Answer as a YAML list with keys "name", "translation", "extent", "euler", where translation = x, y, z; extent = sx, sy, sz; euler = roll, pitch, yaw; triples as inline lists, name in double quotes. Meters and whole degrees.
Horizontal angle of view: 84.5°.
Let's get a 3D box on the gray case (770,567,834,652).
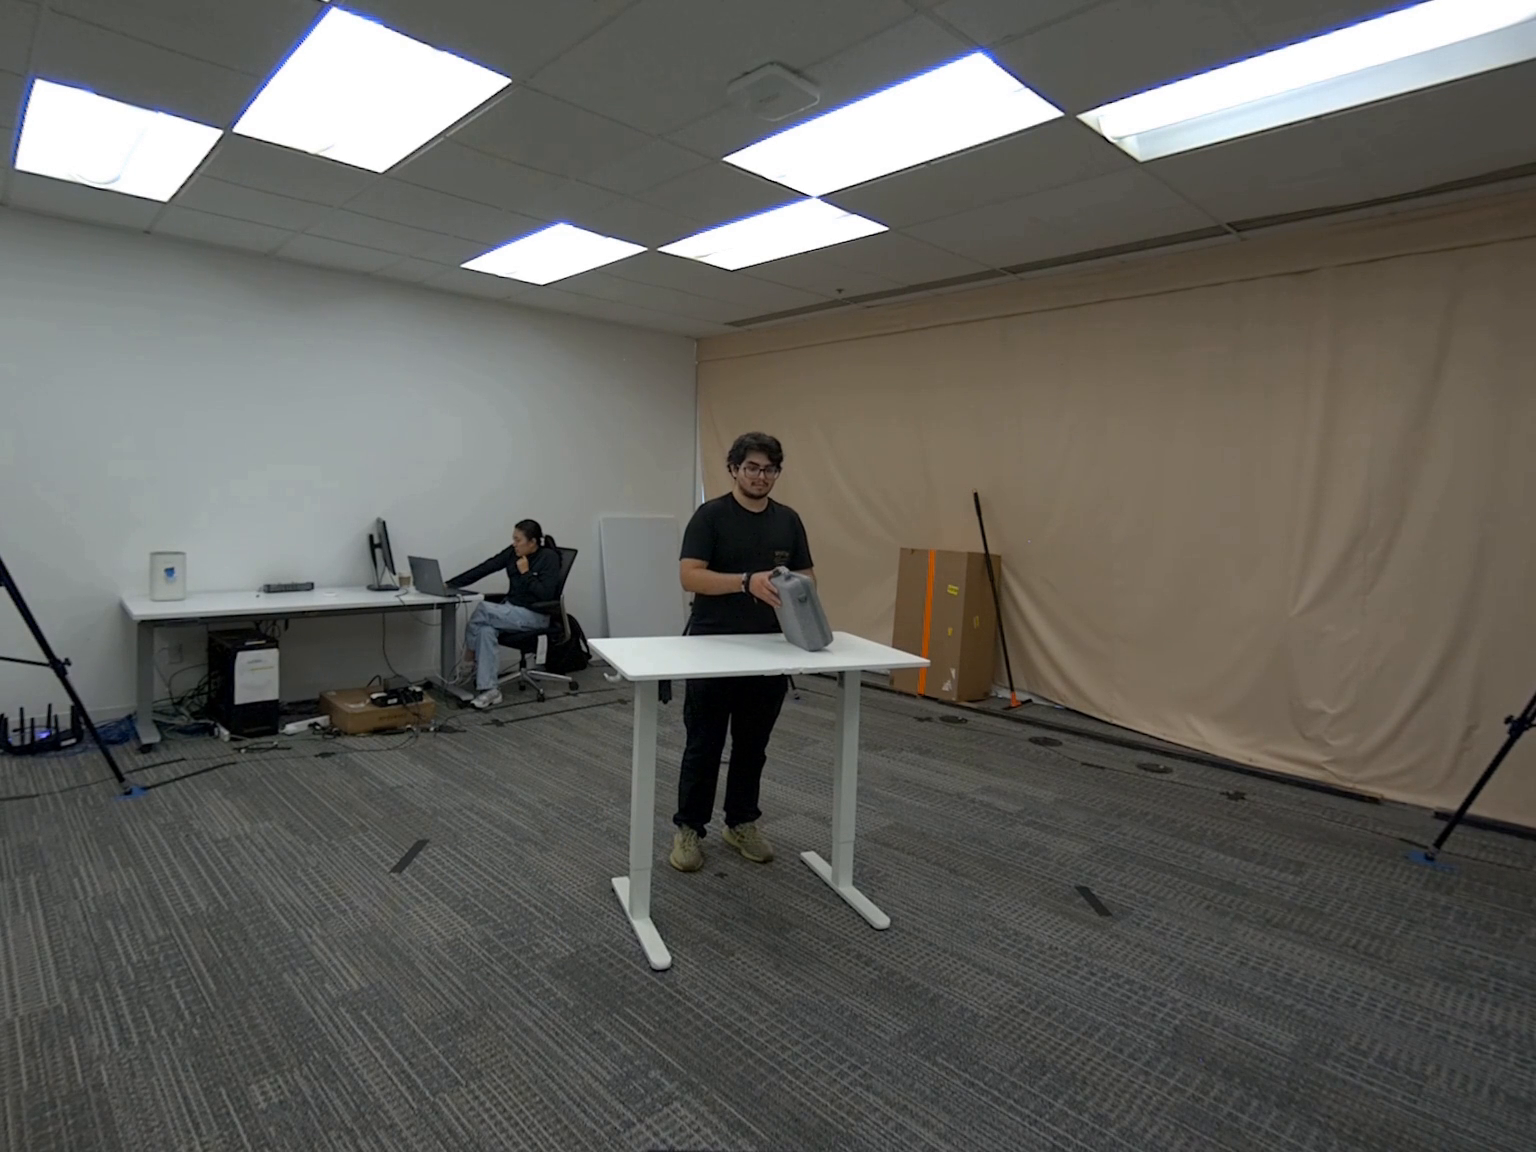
- name: "gray case"
  translation: [0.098, 0.121, 2.918]
  extent: [0.103, 0.258, 0.261]
  euler: [-15, 10, -15]
